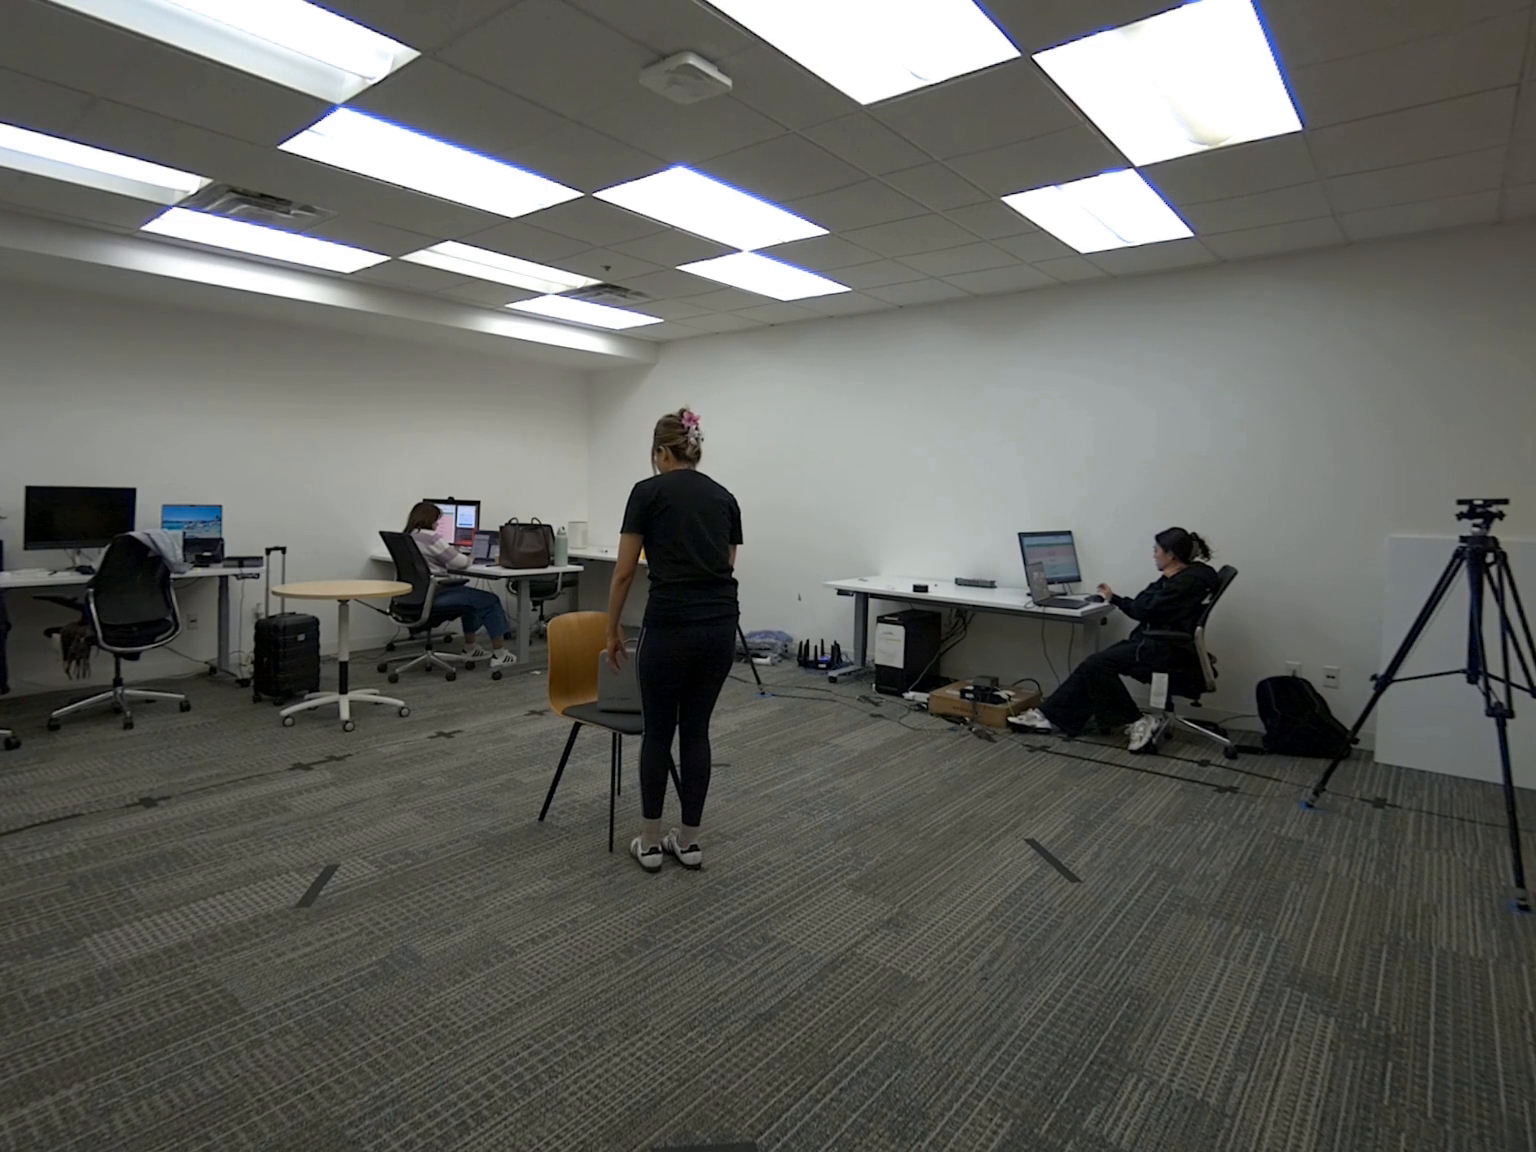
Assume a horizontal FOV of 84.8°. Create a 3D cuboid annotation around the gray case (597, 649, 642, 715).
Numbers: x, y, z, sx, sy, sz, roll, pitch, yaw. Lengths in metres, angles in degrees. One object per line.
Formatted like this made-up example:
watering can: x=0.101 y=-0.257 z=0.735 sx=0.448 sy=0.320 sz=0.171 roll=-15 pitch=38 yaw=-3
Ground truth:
gray case: x=-0.593 y=0.421 z=3.495 sx=0.261 sy=0.262 sz=0.102 roll=-2 pitch=-8 yaw=17
